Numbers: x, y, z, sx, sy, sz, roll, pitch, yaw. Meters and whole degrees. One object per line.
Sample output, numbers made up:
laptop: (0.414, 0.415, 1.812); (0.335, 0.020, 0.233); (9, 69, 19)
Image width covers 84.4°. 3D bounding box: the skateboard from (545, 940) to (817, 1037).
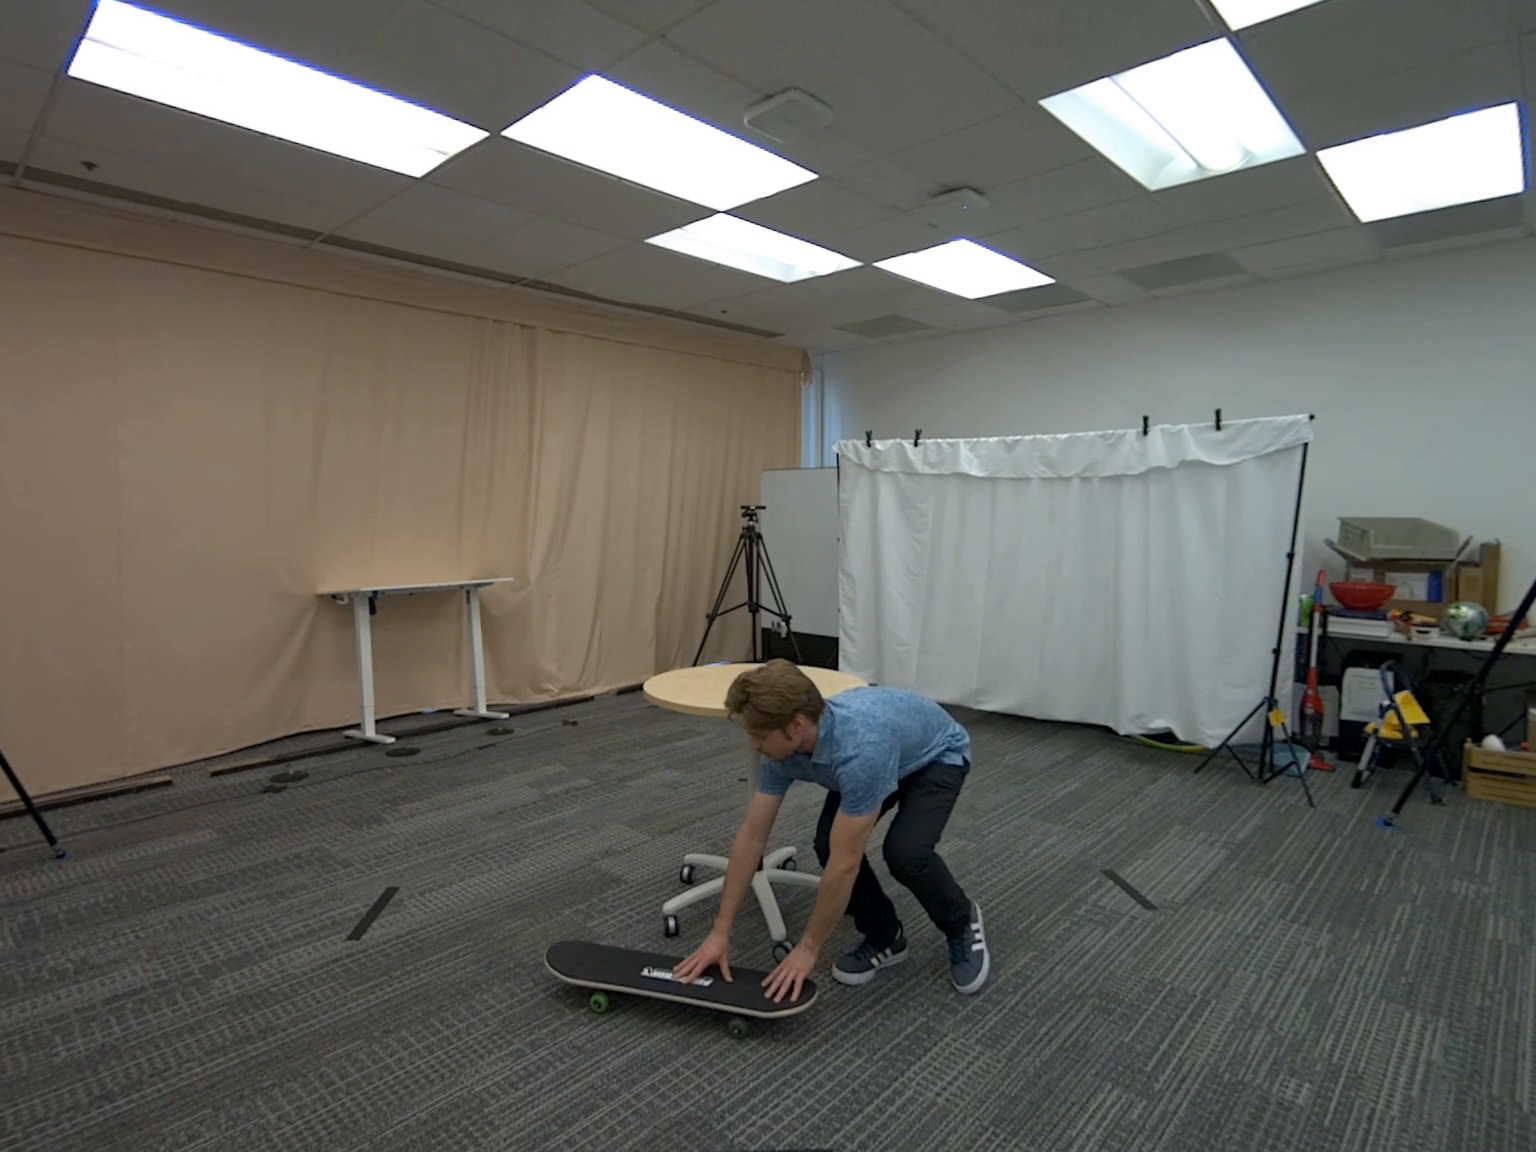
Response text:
skateboard: (-0.249, 1.148, 2.334); (0.799, 0.110, 0.190); (1, 4, 16)
